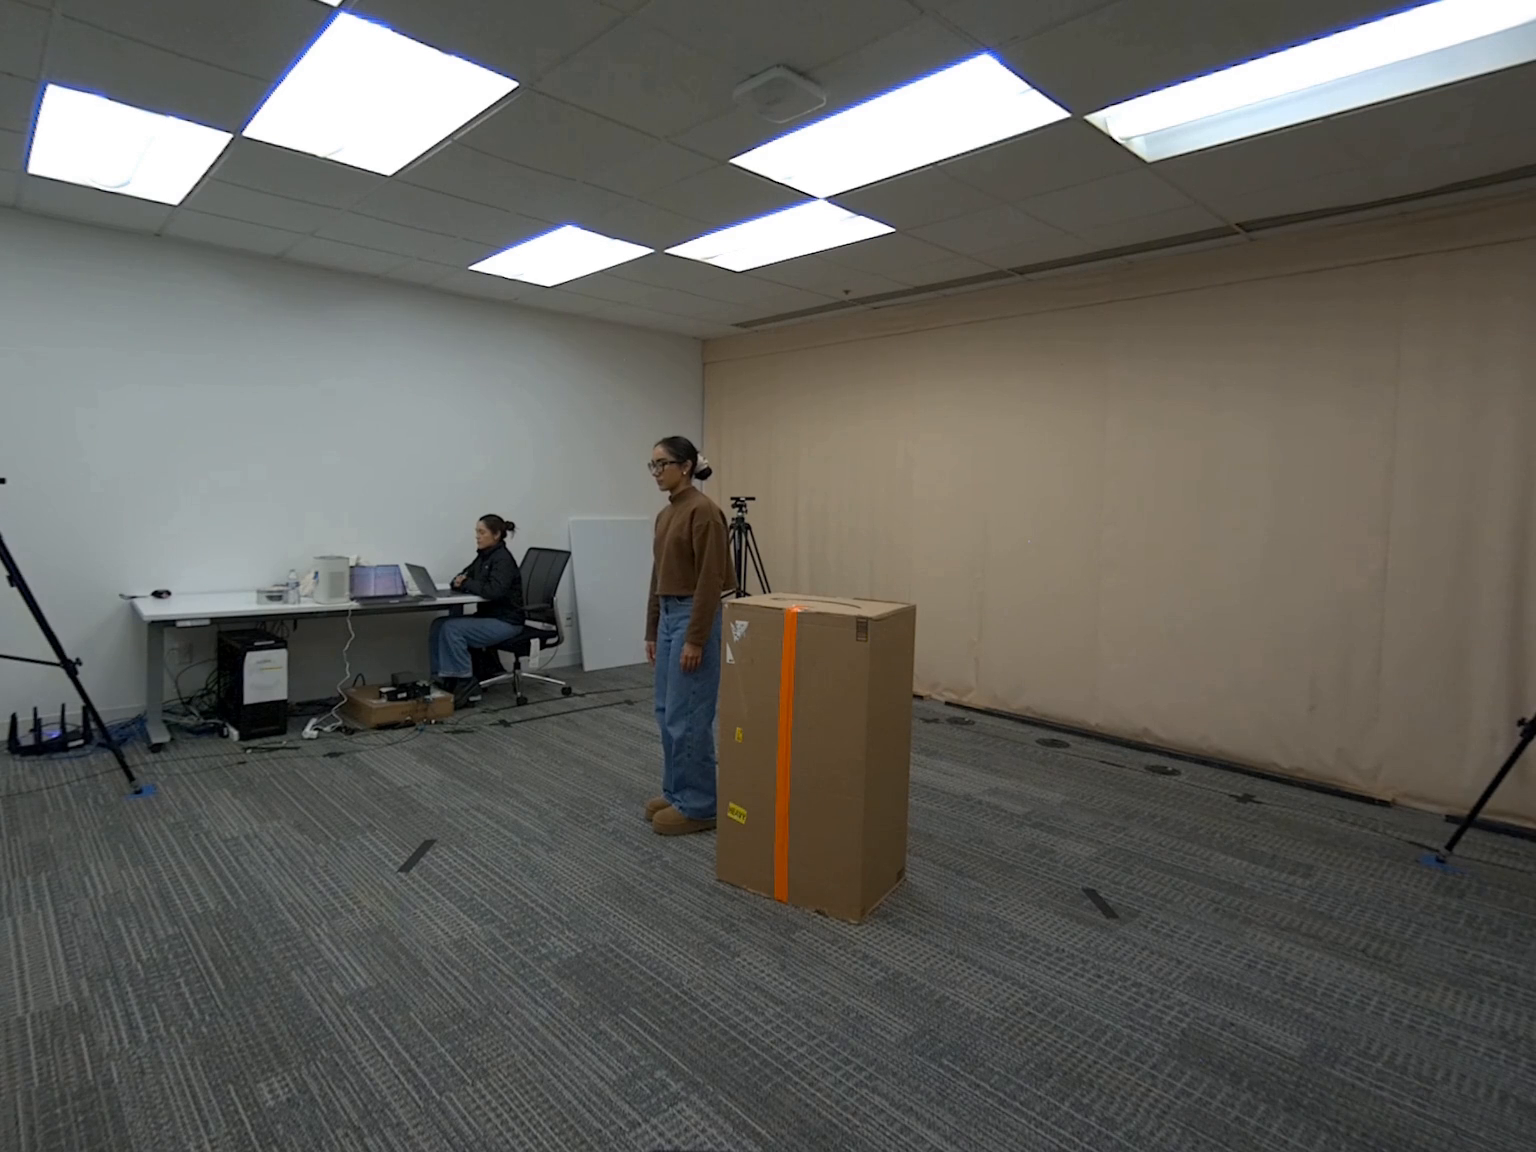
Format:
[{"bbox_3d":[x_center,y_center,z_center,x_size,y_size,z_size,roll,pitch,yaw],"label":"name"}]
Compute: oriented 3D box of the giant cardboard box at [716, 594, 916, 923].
[{"bbox_3d":[0.171,0.609,3.058,0.591,1.023,0.417,4,4,33],"label":"giant cardboard box"}]
